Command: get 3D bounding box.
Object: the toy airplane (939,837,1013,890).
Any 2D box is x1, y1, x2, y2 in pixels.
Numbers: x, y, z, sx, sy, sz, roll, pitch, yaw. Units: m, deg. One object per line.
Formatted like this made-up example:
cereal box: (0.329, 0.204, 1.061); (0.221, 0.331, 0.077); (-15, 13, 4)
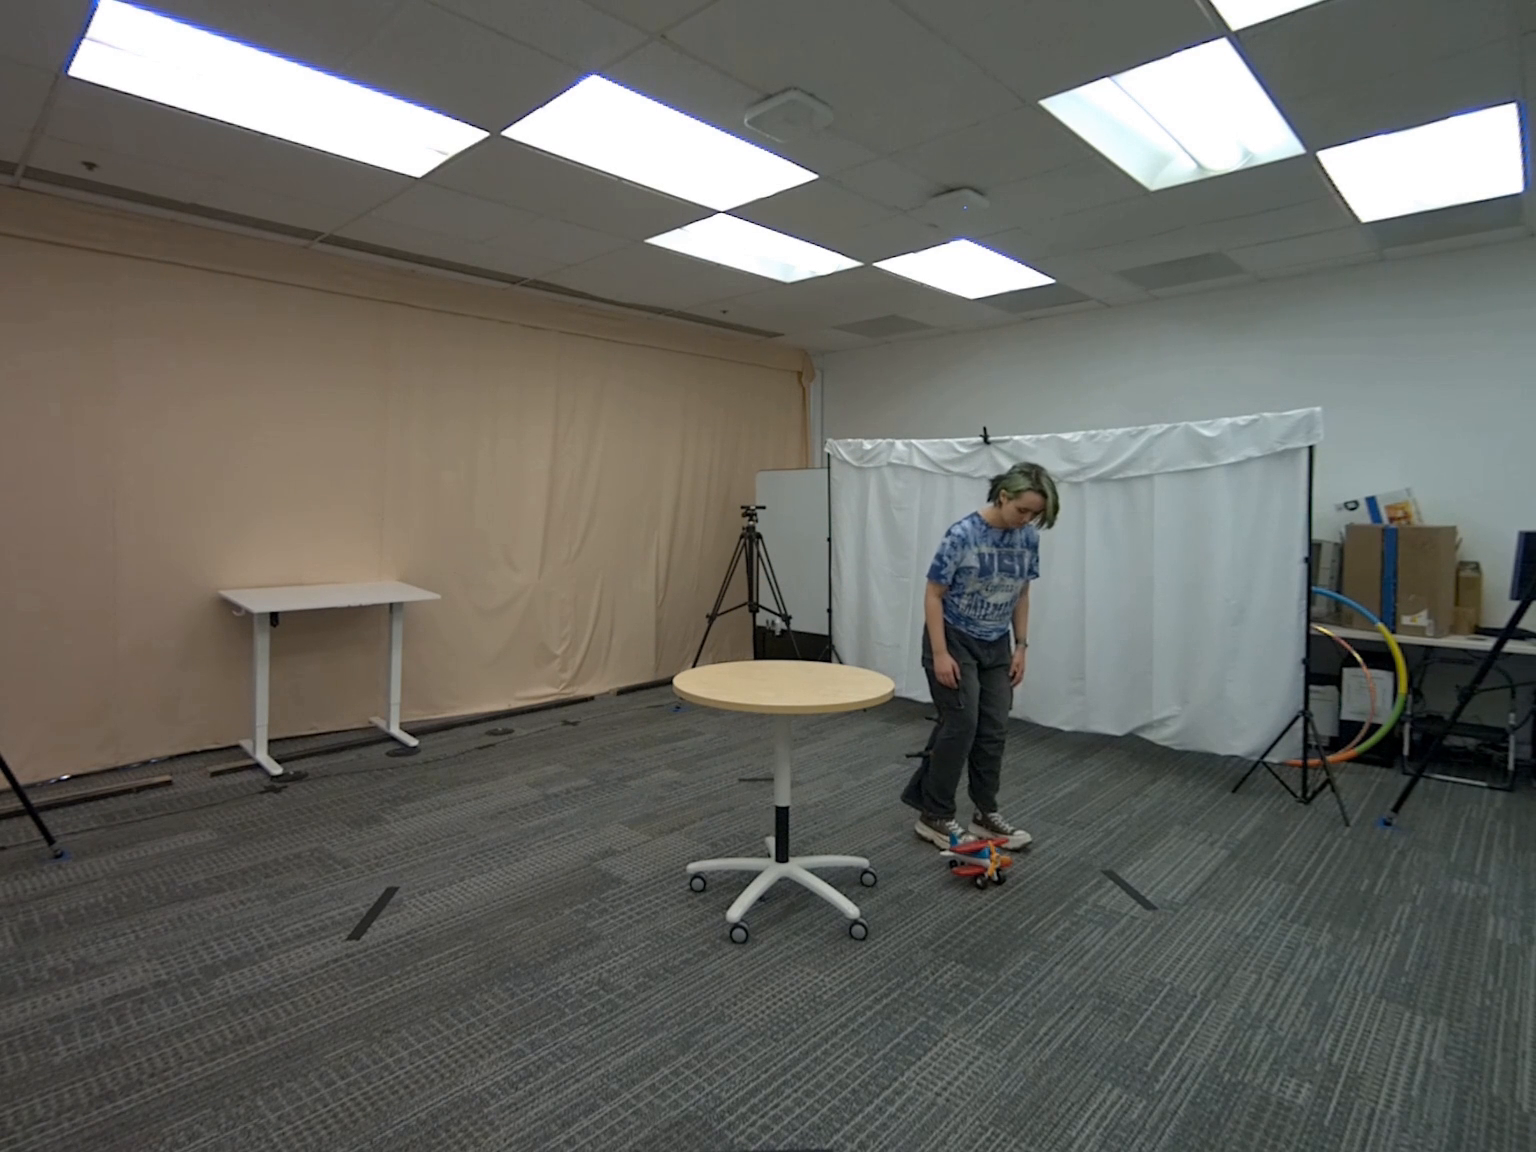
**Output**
toy airplane: (0.753, 1.049, 3.145); (0.267, 0.156, 0.244); (5, 6, 34)
